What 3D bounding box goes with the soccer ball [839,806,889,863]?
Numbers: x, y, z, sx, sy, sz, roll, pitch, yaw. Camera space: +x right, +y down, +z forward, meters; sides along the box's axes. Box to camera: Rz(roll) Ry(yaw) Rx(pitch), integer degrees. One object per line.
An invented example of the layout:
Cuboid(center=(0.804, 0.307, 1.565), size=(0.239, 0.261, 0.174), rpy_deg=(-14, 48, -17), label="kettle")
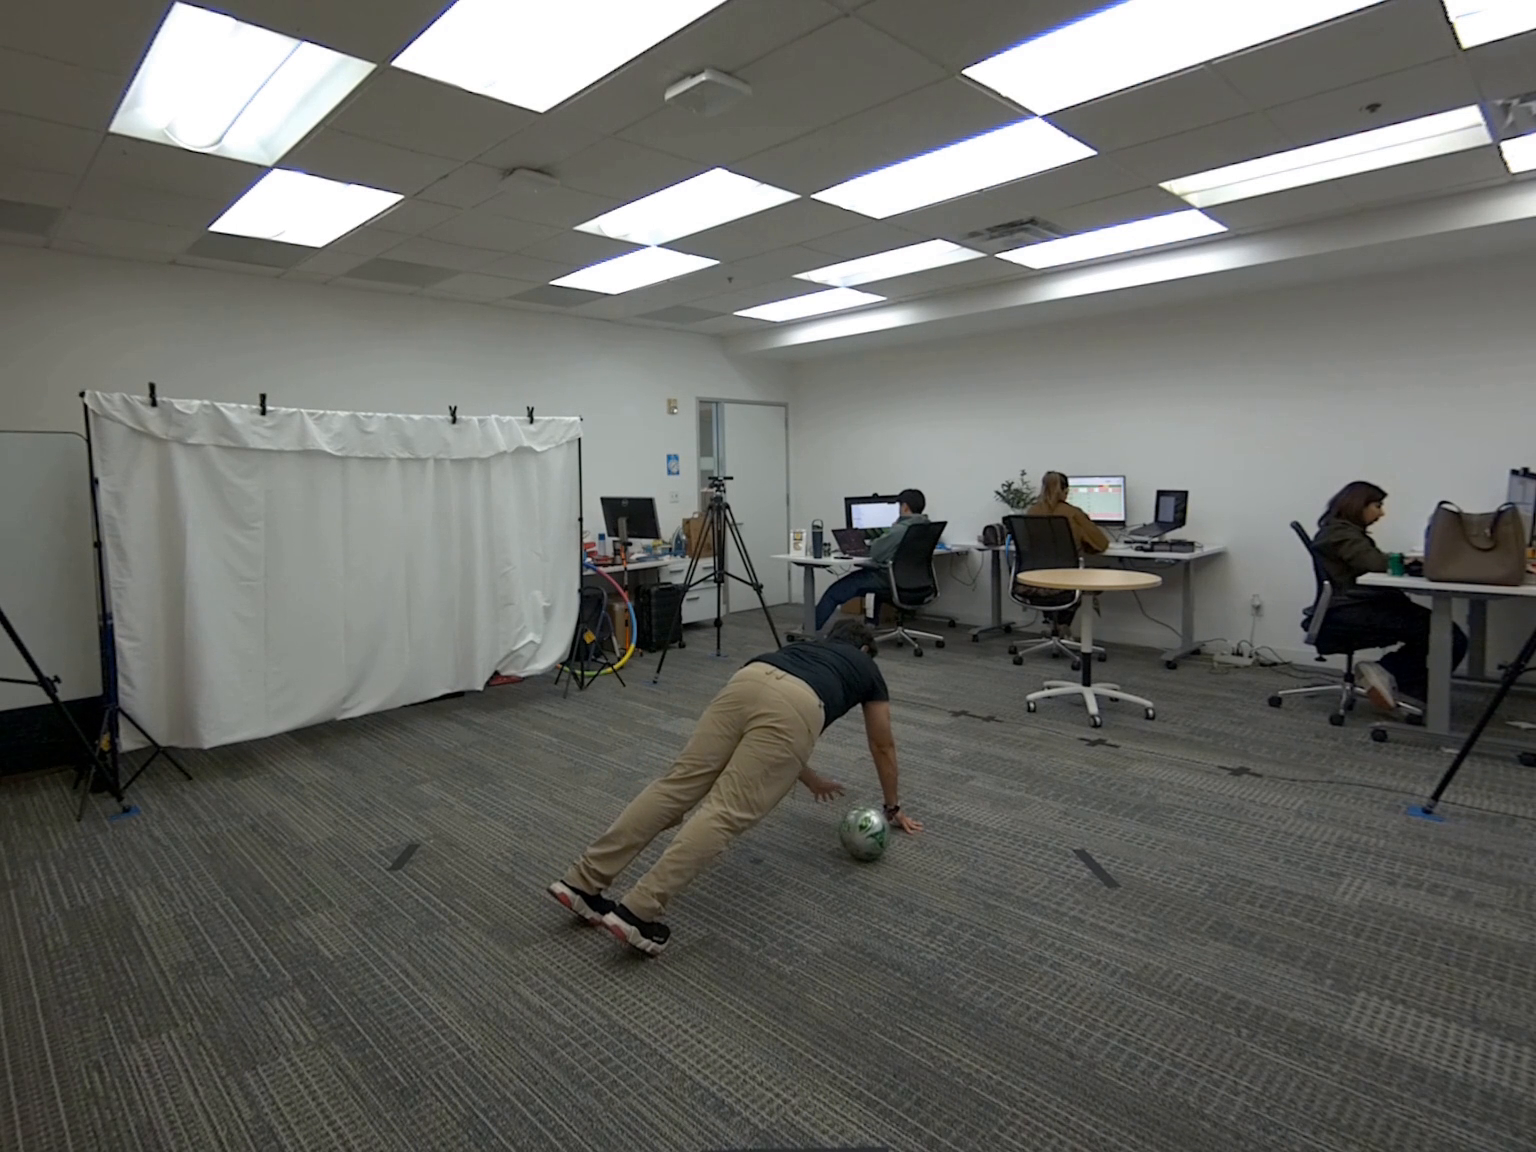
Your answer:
Cuboid(center=(0.357, 0.936, 3.113), size=(0.187, 0.187, 0.188), rpy_deg=(-1, 5, -2), label="soccer ball")
